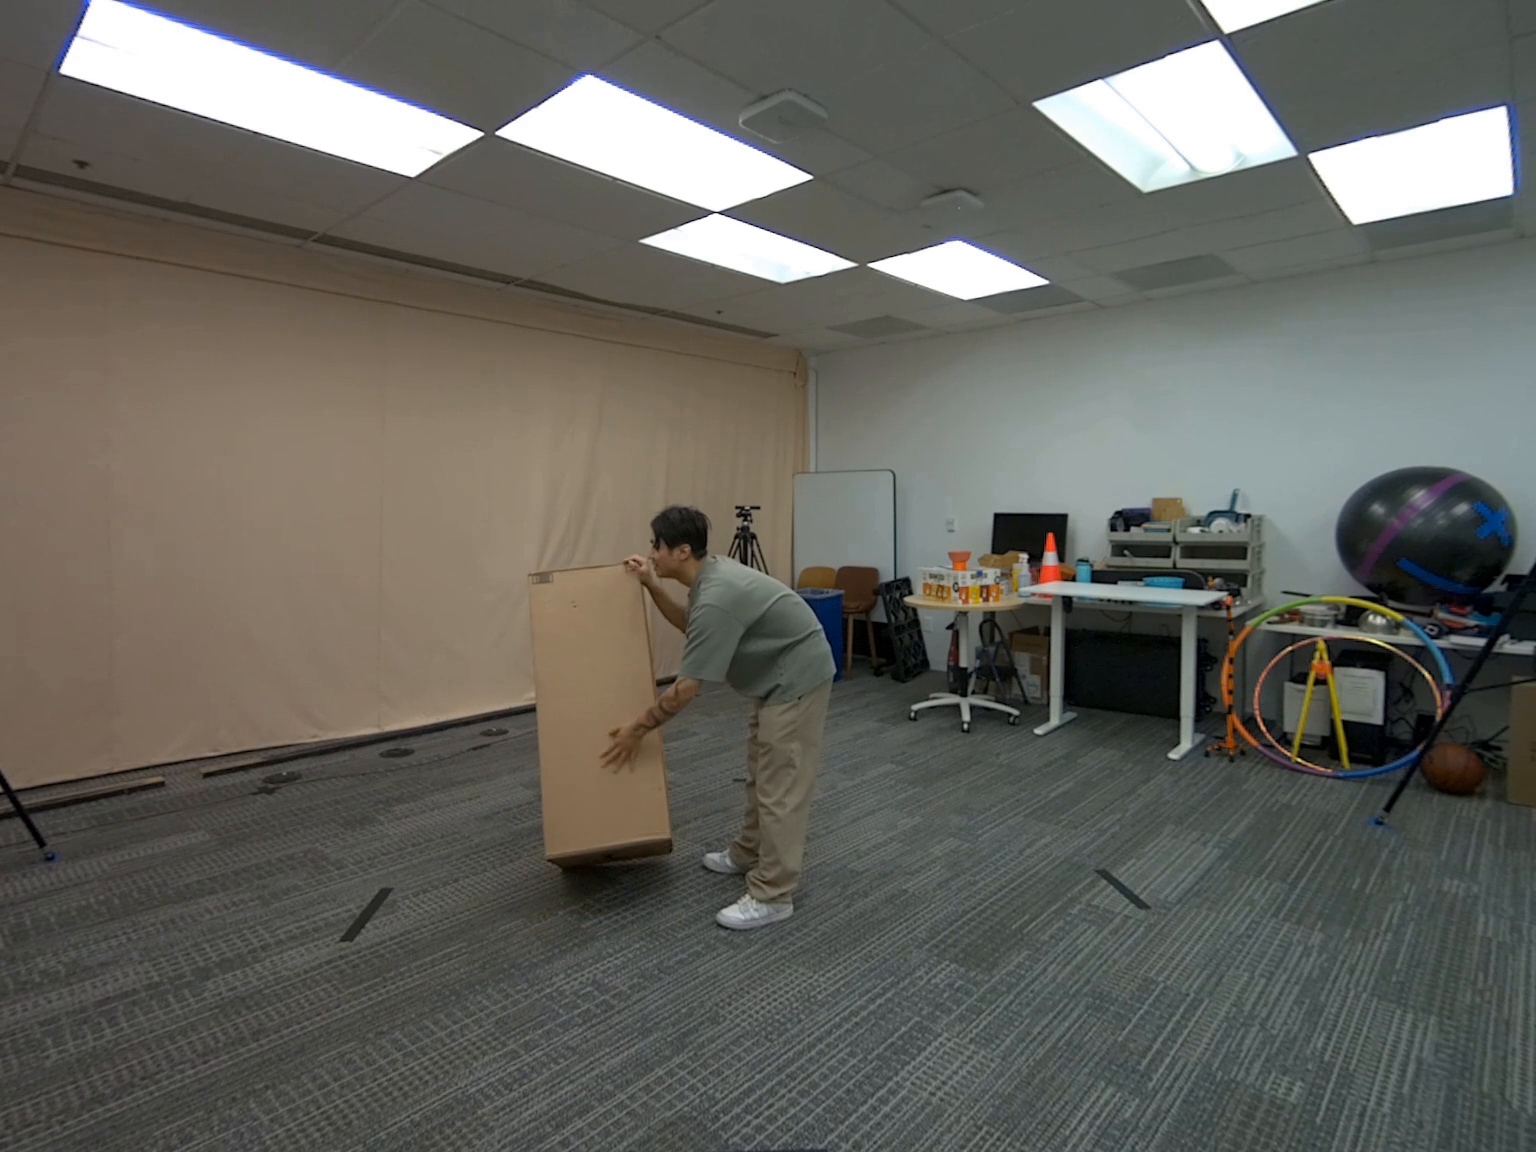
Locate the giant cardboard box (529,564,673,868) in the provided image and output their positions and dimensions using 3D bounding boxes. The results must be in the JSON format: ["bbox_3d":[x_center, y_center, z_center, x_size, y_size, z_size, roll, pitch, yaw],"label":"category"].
[{"bbox_3d":[-0.638,0.543,3.236,0.423,1.044,0.572,-6,-23,-9],"label":"giant cardboard box"}]
